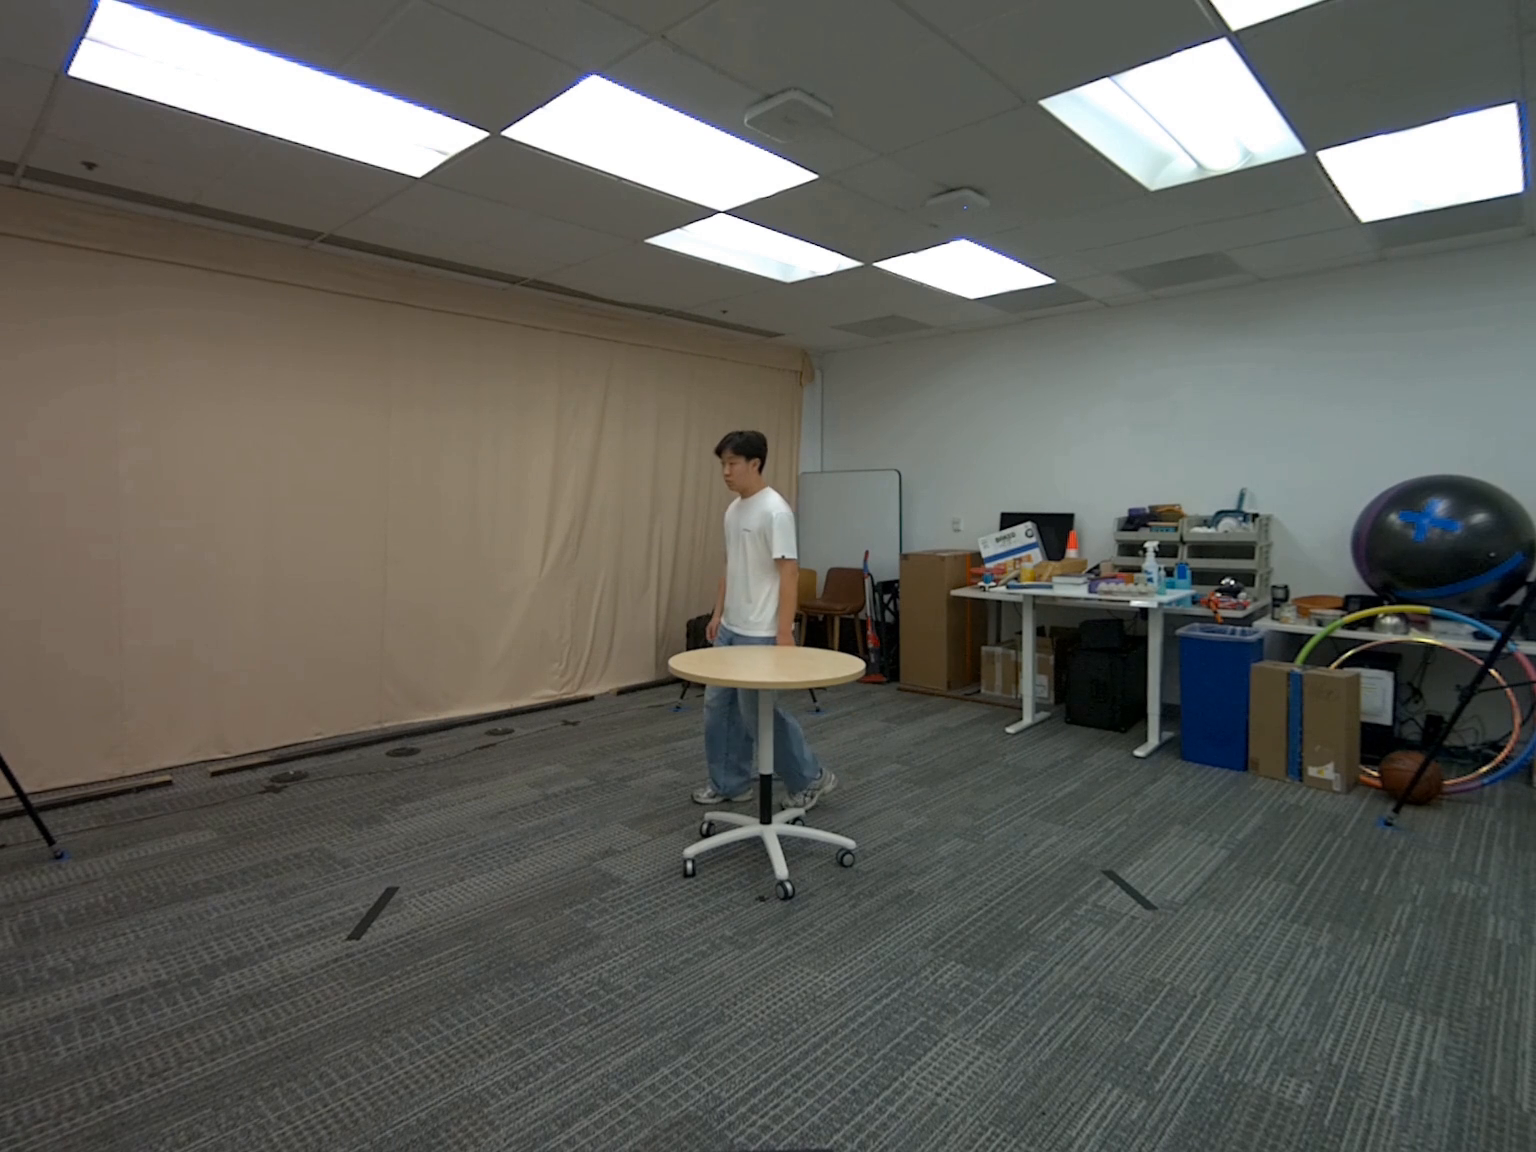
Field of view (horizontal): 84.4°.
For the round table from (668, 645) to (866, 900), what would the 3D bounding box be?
[{"bbox_3d":[-0.006,0.724,3.307,0.763,0.792,0.766,0,3,-2],"label":"round table"}]
